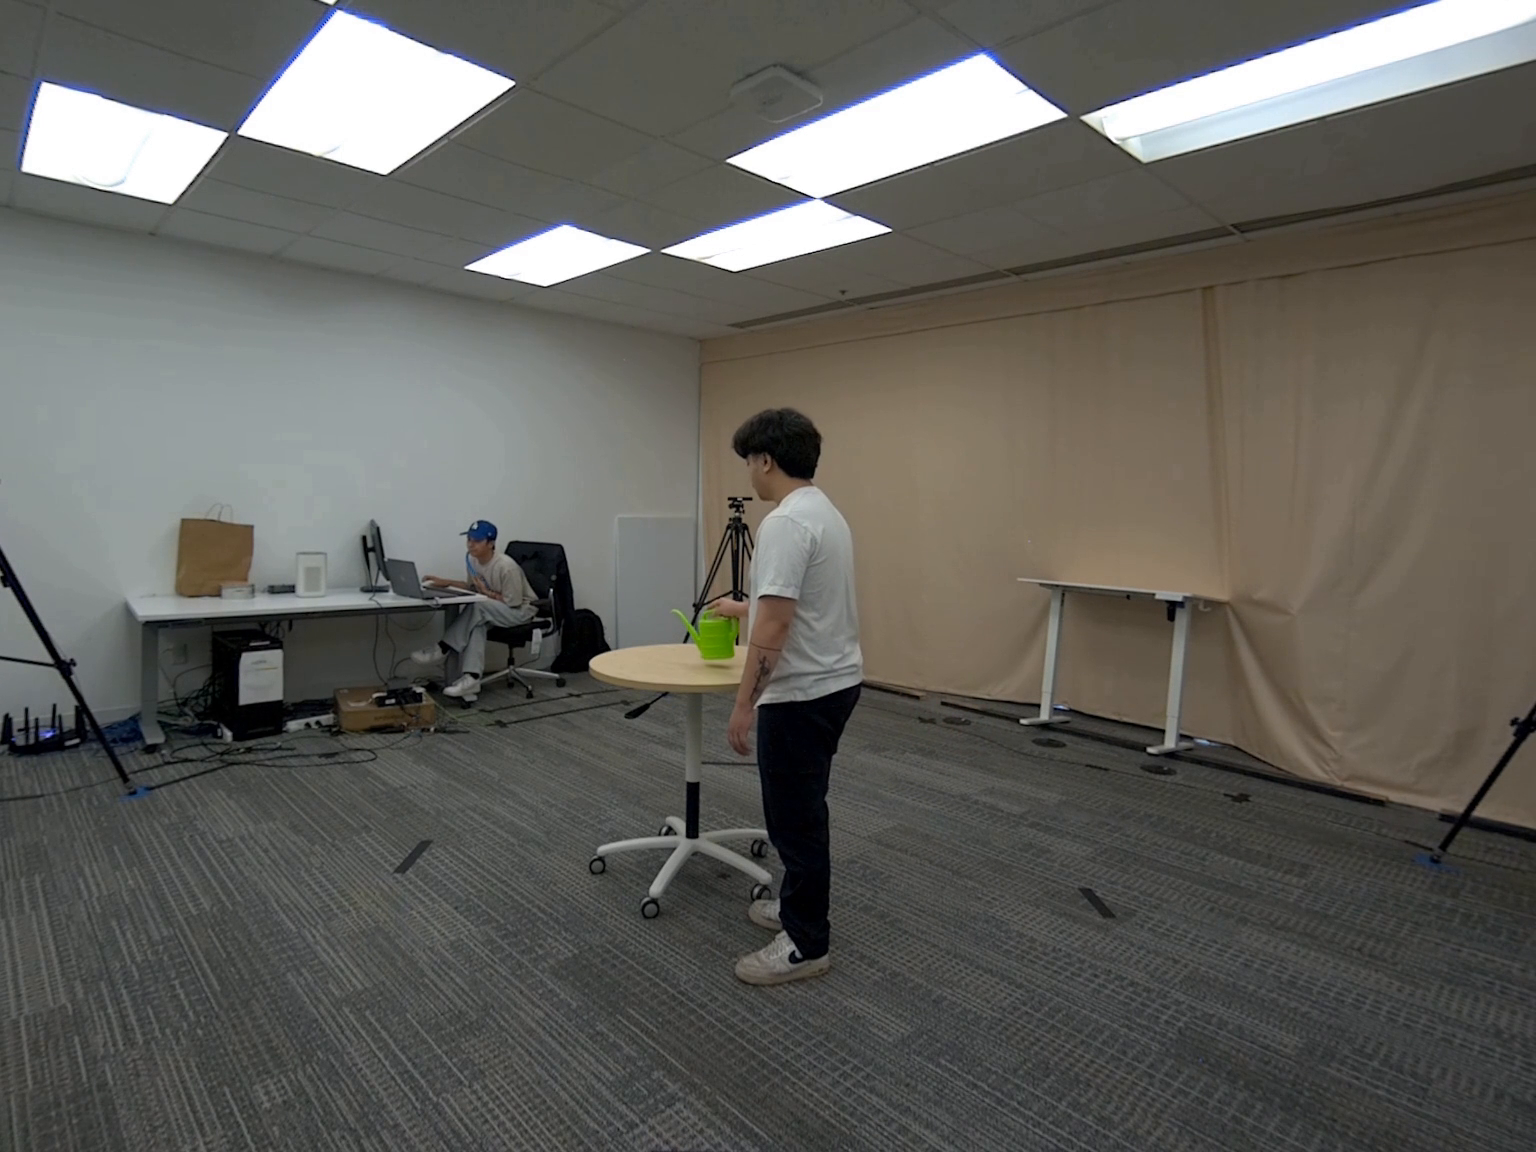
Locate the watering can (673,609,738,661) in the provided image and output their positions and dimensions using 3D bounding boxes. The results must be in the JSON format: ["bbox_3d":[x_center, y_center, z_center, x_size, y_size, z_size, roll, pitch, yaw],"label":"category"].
[{"bbox_3d":[-0.228,0.207,3.016,0.285,0.177,0.096,-2,2,44],"label":"watering can"}]
